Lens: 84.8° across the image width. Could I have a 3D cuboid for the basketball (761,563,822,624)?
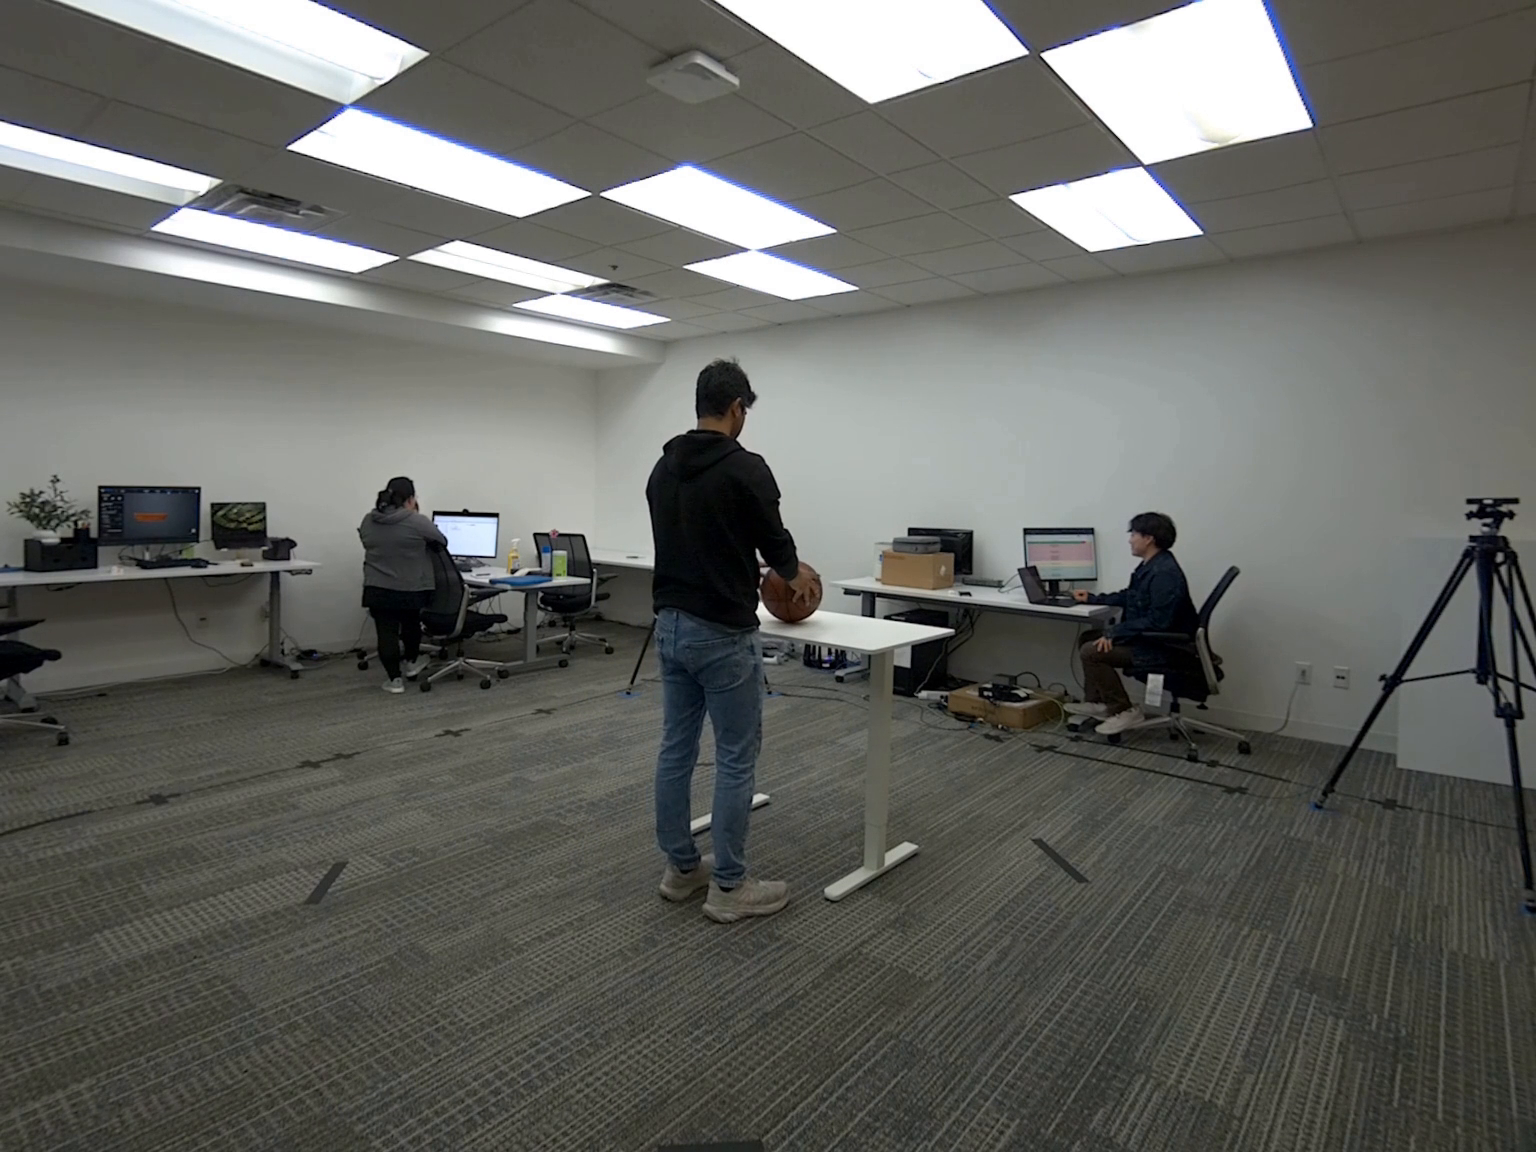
[{"bbox_3d":[0.075,0.052,3.267,0.235,0.235,0.237,1,4,-2],"label":"basketball"}]
